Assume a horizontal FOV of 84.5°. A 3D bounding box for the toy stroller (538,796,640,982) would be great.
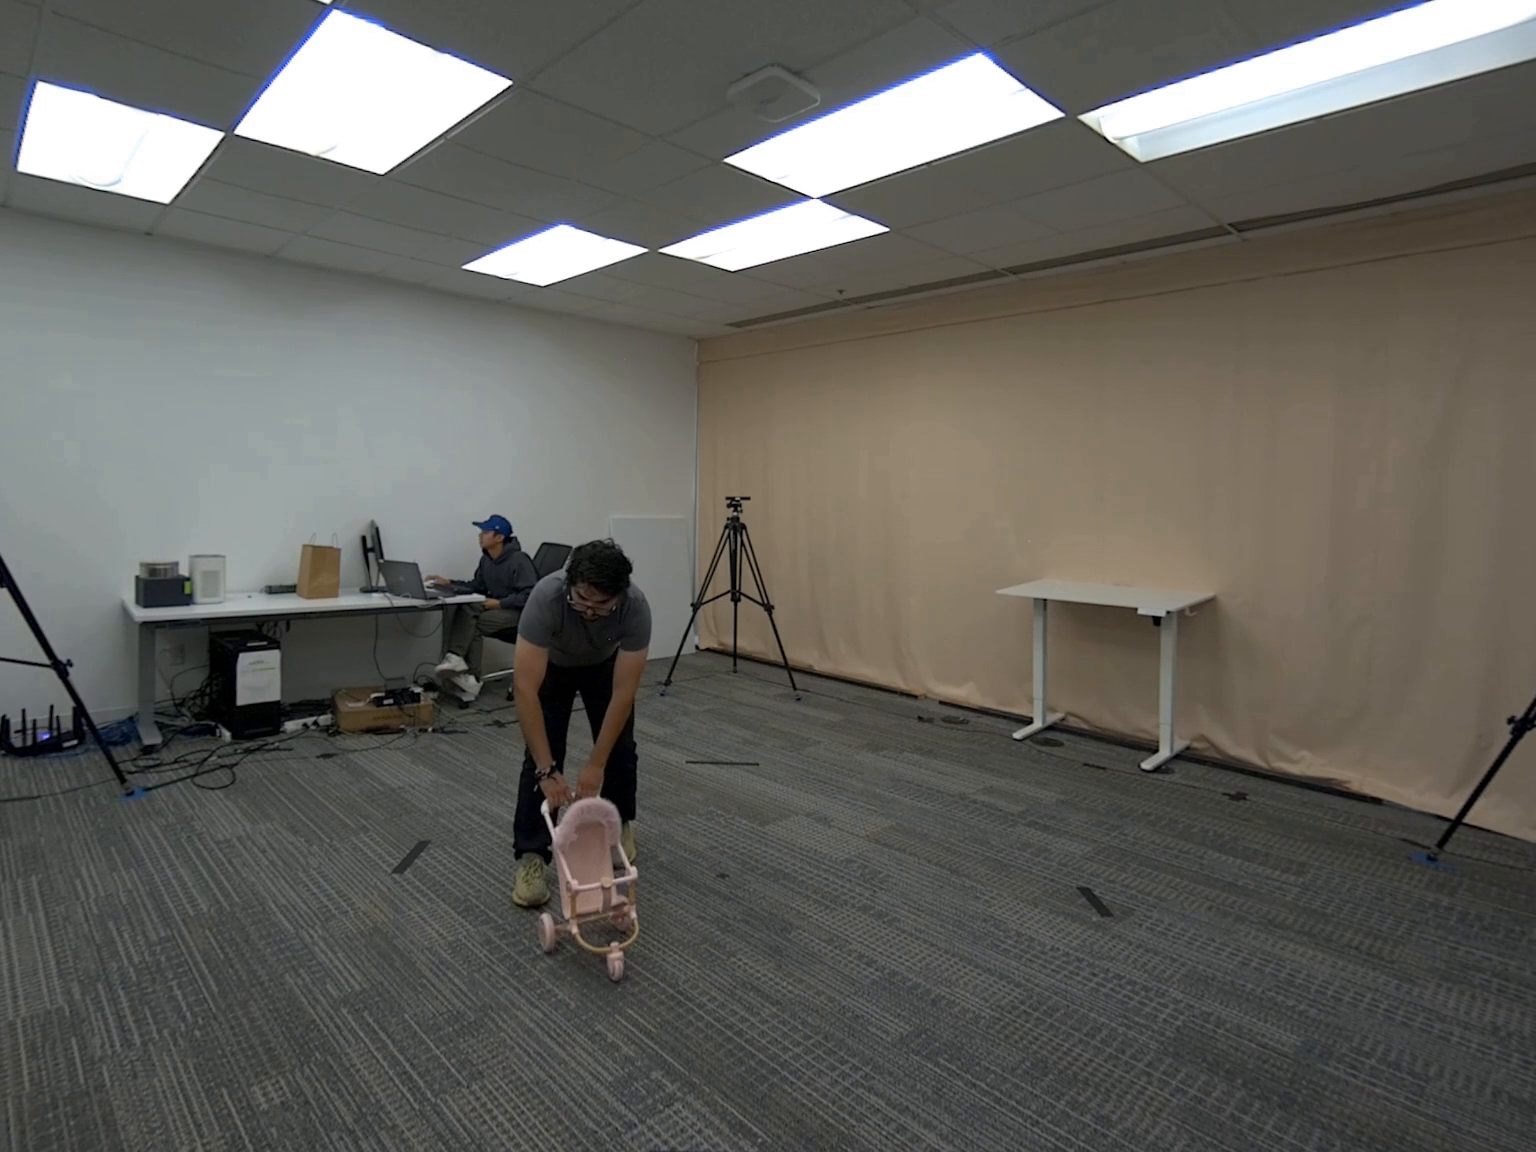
[{"bbox_3d":[-0.547,0.925,2.576,0.276,0.541,0.344,-1,-14,-29],"label":"toy stroller"}]
